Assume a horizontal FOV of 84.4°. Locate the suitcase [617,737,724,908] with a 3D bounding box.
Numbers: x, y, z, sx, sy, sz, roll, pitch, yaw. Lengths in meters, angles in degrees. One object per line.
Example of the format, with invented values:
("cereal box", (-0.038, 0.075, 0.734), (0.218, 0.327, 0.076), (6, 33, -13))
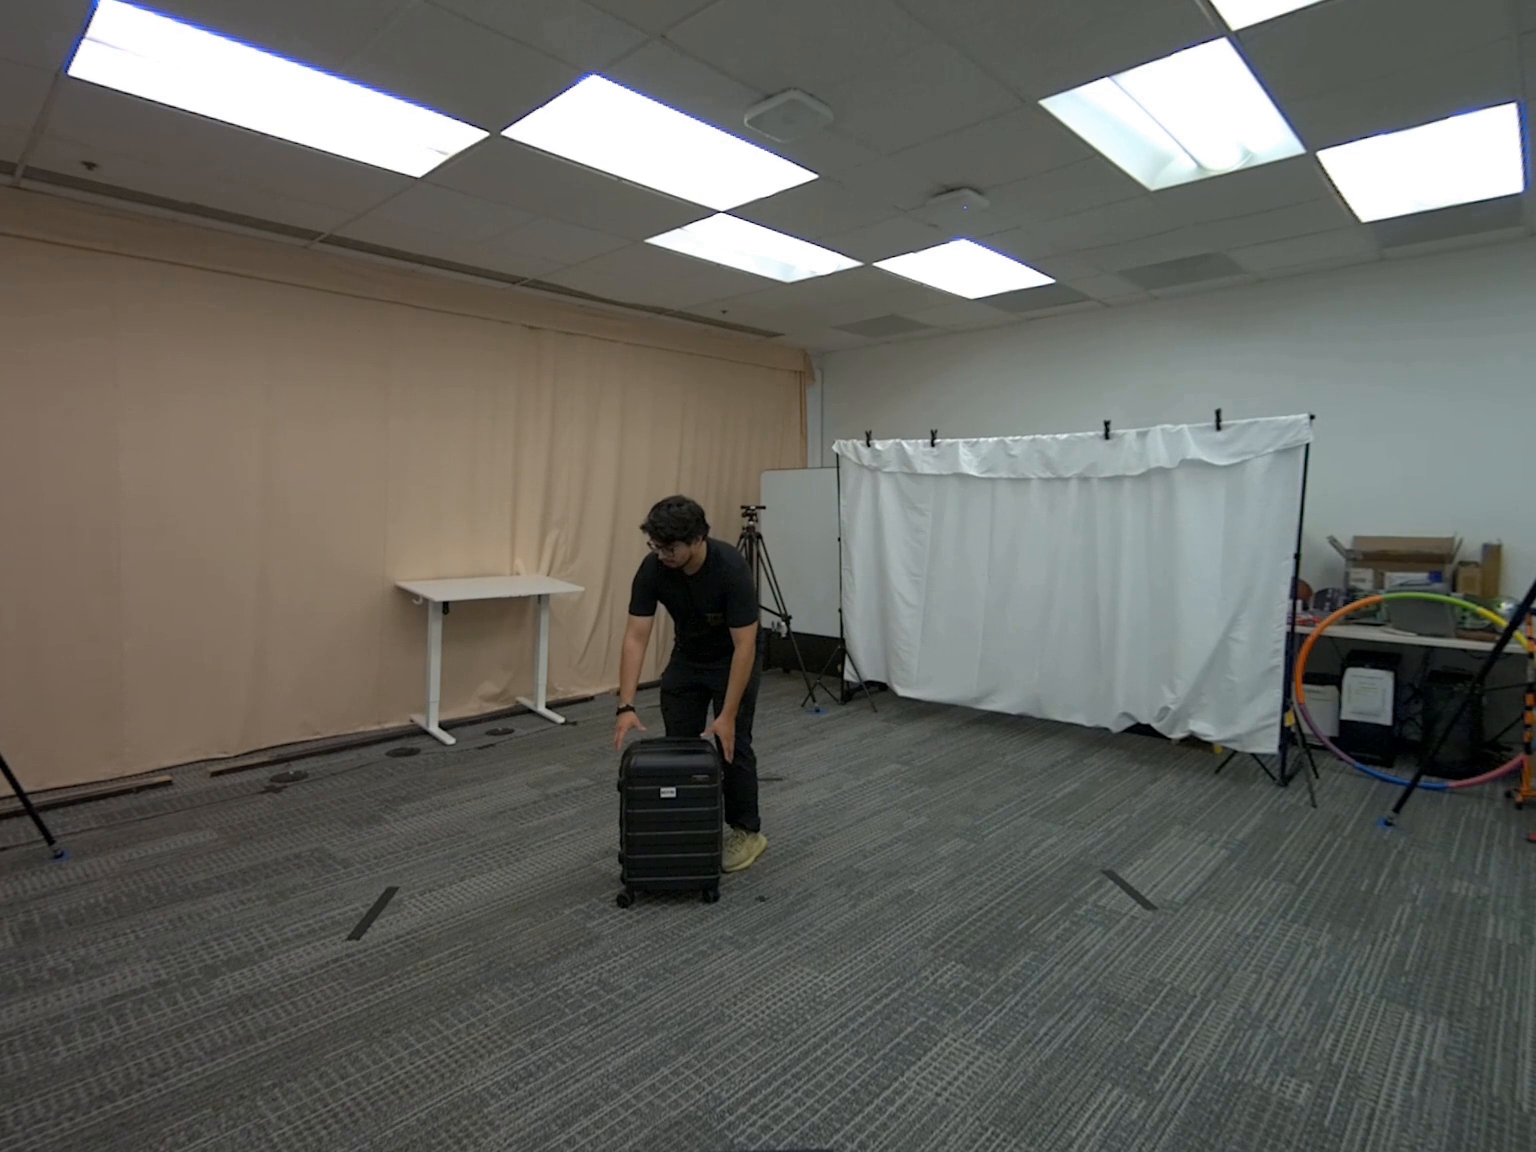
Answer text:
("suitcase", (-0.347, 0.863, 3.027), (0.374, 0.548, 0.250), (0, 3, -5))
